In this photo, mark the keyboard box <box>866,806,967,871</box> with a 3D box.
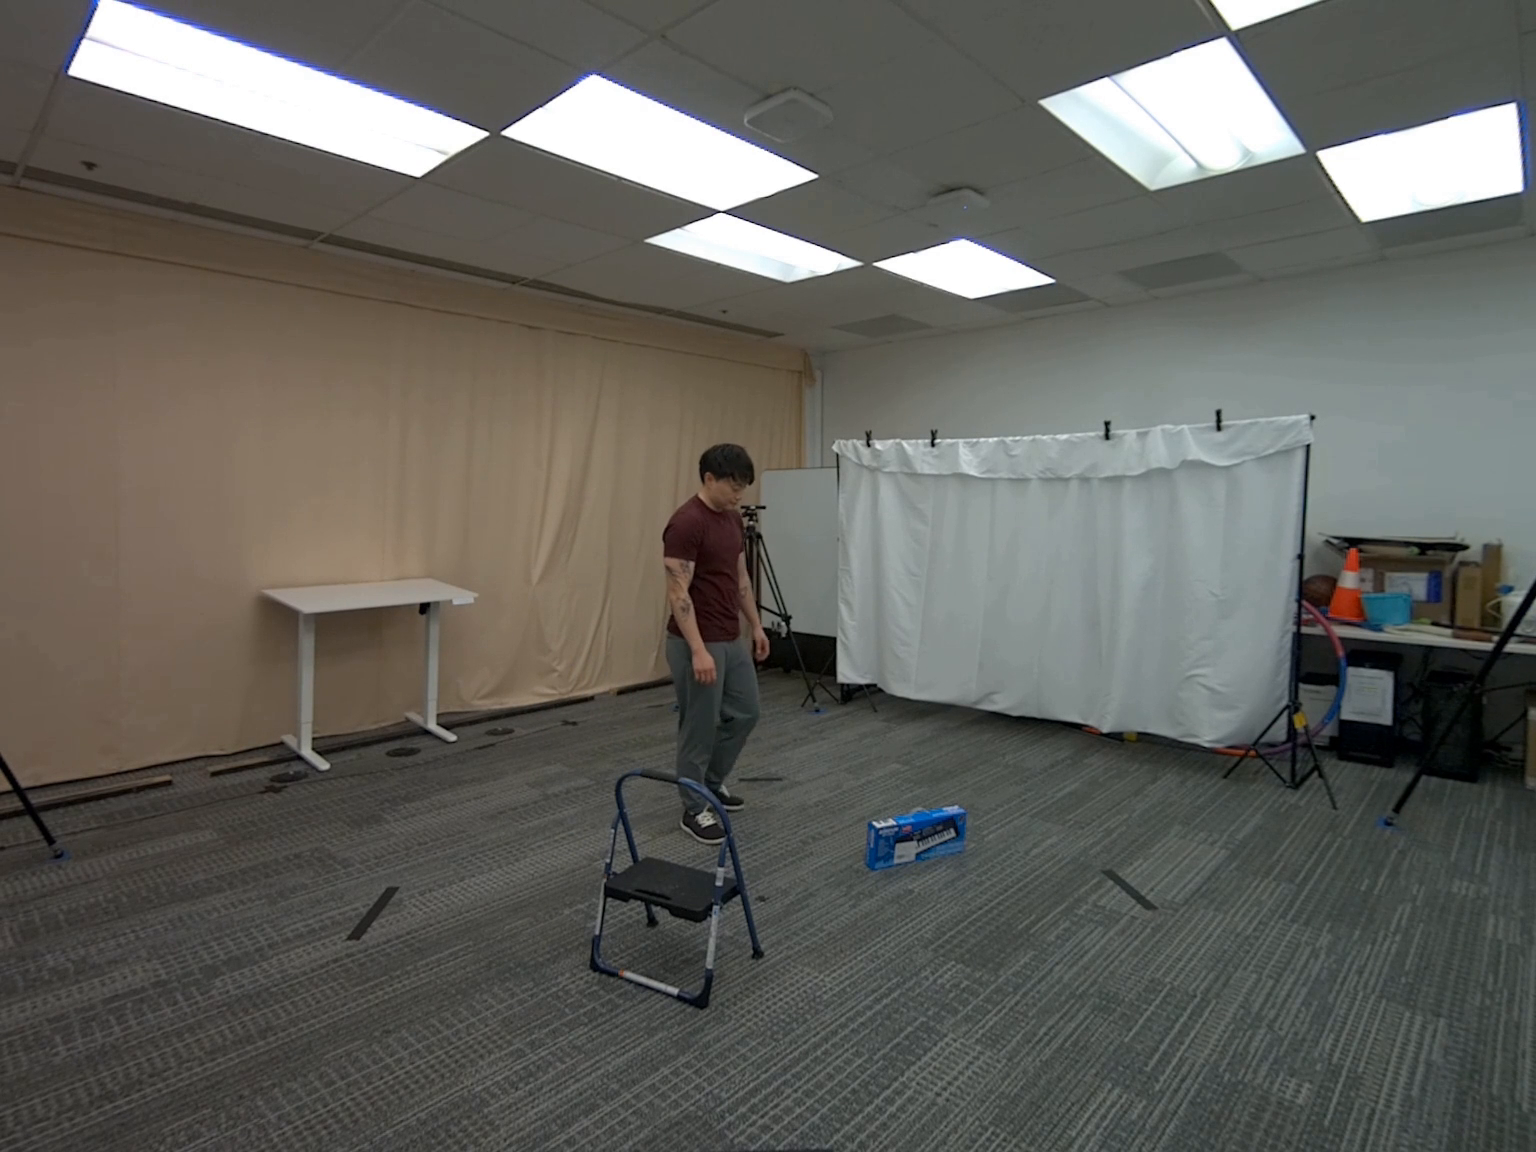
[{"bbox_3d":[0.584,1.027,3.309,0.426,0.175,0.061,-2,10,-25],"label":"keyboard box"}]
